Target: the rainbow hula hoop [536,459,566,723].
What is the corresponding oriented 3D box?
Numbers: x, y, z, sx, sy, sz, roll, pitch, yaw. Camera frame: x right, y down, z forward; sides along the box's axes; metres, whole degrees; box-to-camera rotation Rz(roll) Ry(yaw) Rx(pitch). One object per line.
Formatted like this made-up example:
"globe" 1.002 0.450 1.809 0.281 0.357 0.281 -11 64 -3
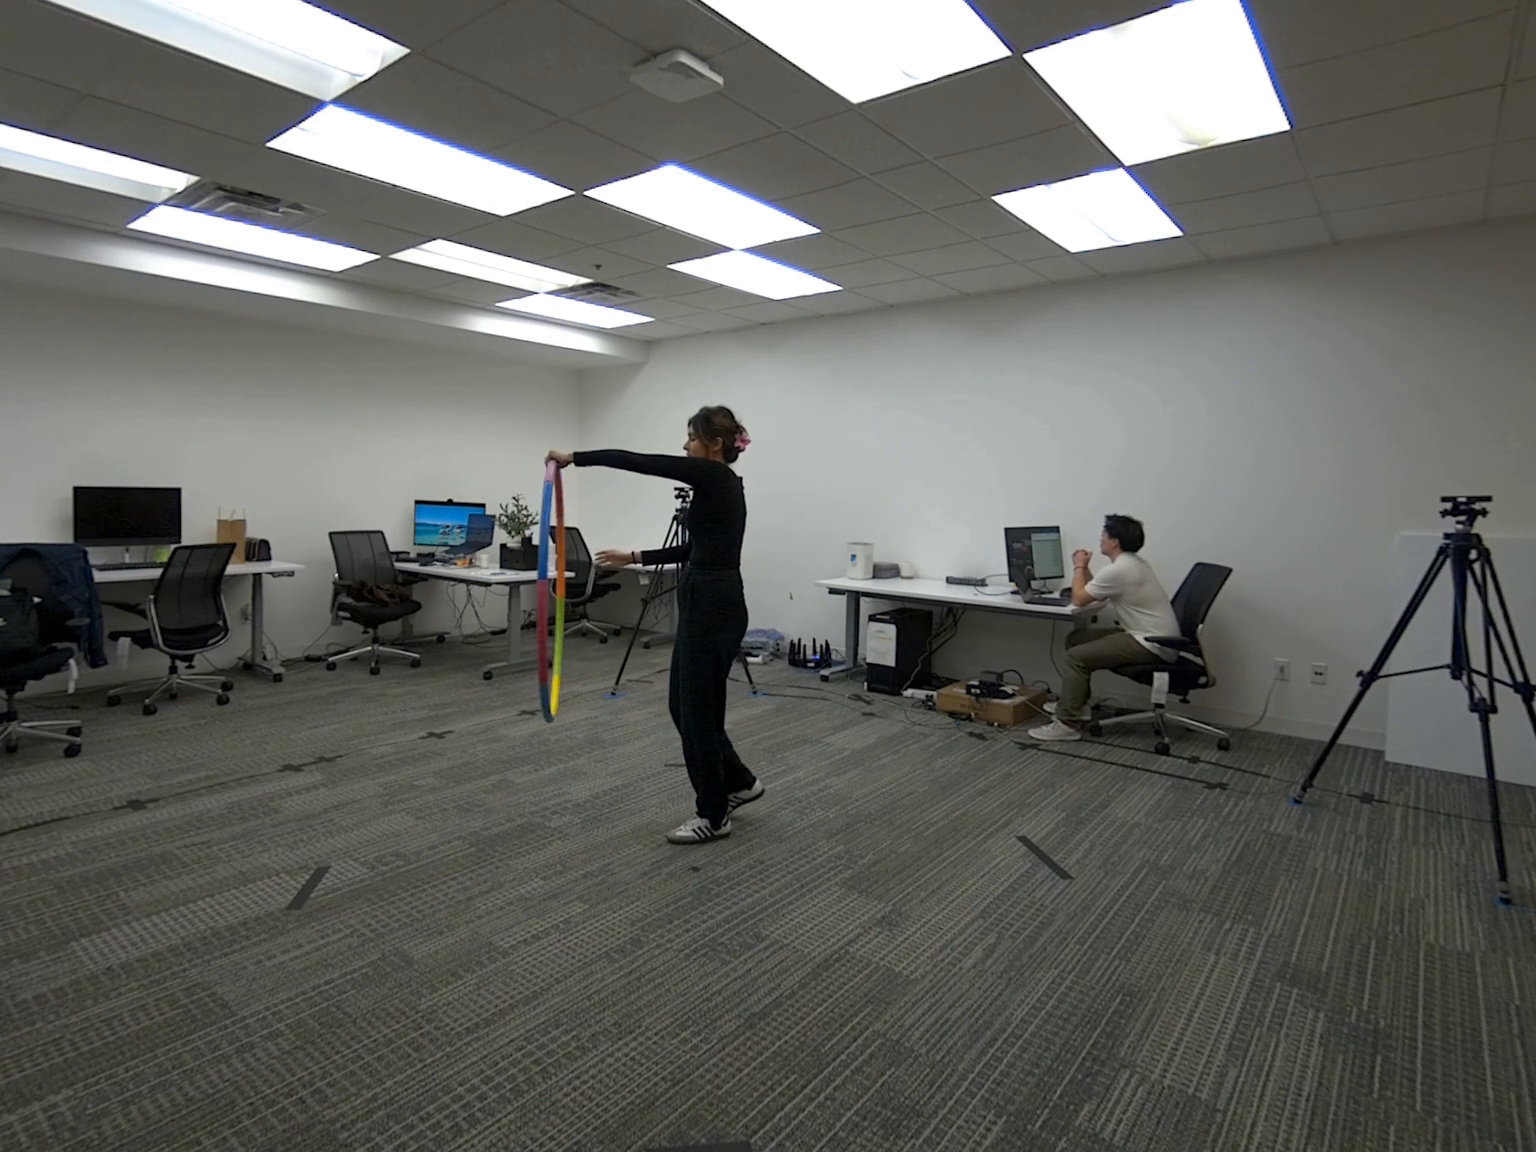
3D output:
"rainbow hula hoop" -0.829 0.058 3.240 0.051 0.982 0.996 2 4 -9
